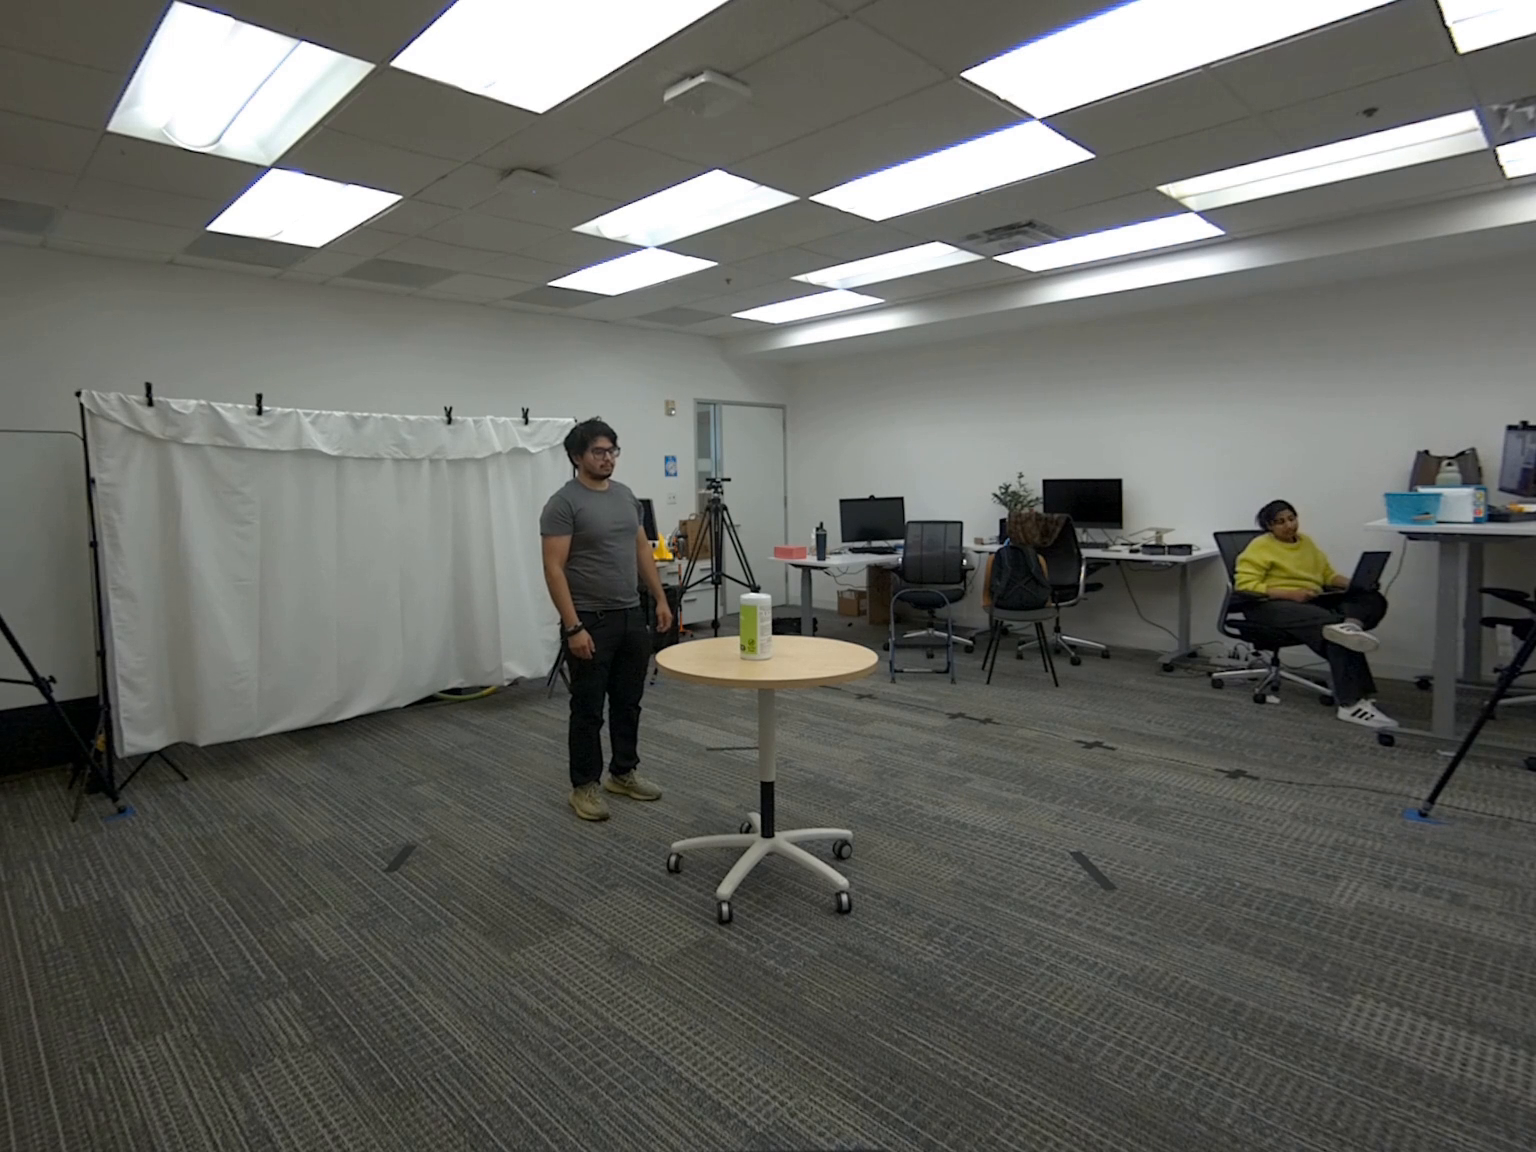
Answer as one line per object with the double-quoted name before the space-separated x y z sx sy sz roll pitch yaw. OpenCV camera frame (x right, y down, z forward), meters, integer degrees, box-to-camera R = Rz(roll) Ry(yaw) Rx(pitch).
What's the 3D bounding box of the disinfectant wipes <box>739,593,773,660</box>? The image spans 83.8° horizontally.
"disinfectant wipes" -0.036 0.172 2.918 0.118 0.217 0.118 -2 3 -2
